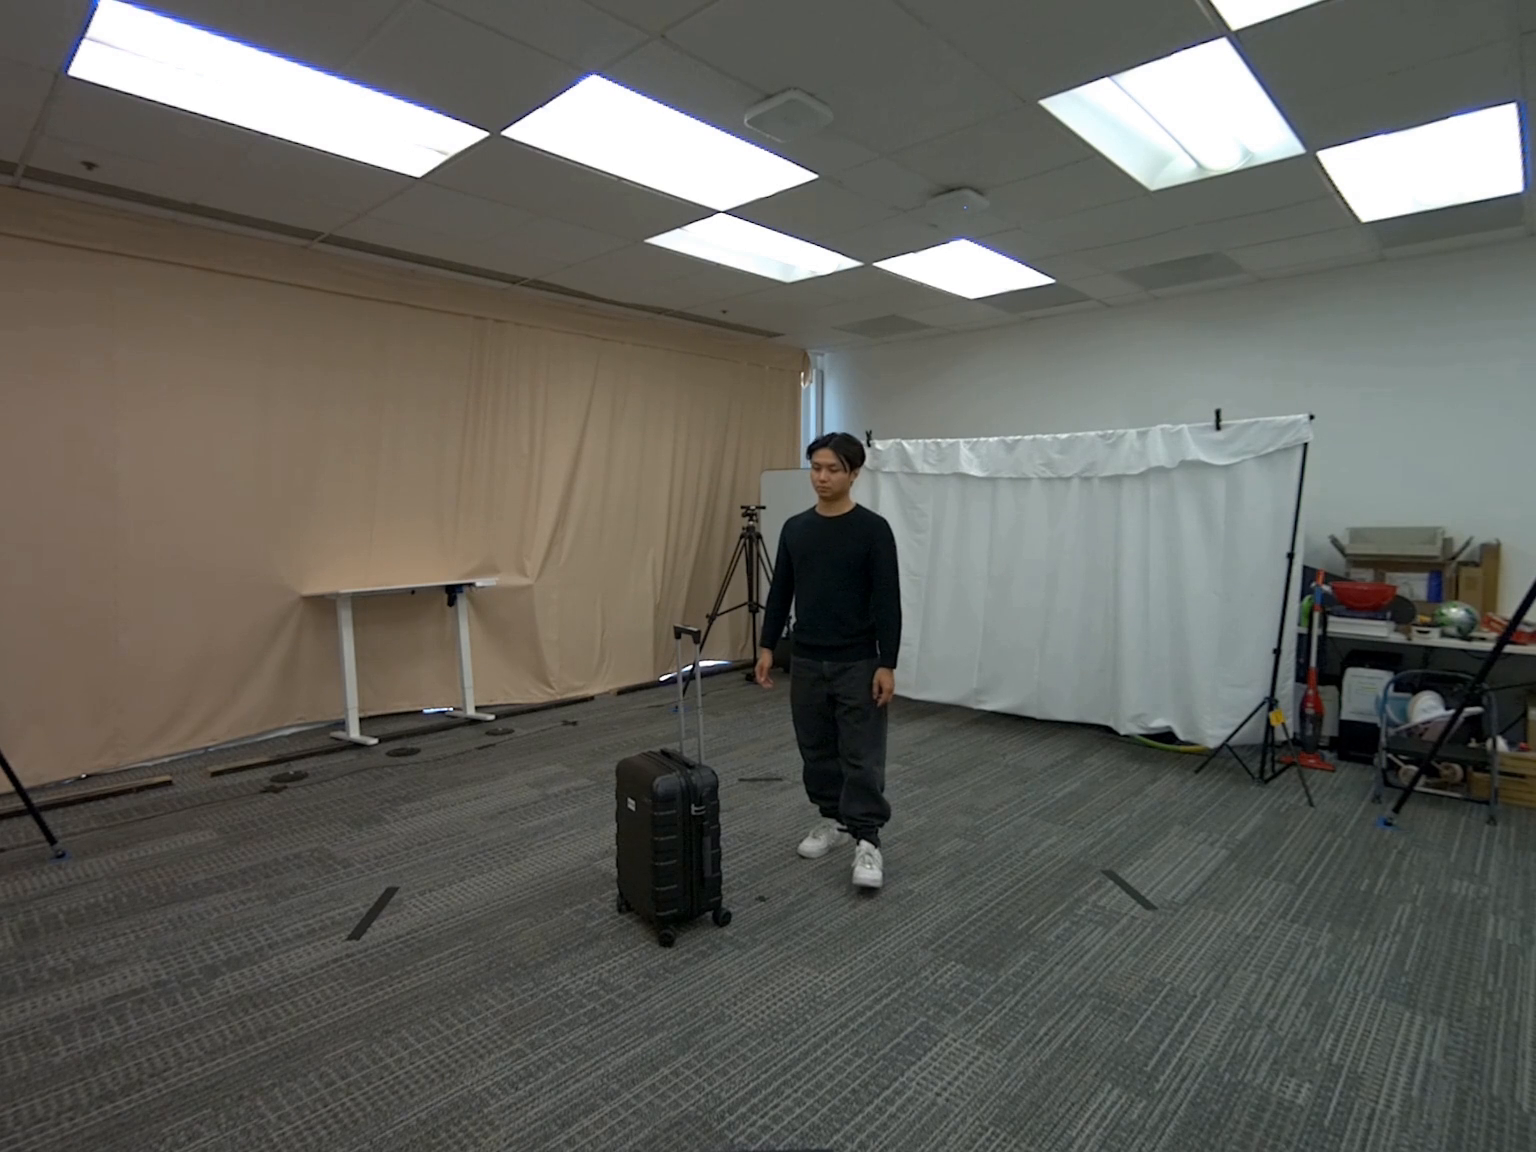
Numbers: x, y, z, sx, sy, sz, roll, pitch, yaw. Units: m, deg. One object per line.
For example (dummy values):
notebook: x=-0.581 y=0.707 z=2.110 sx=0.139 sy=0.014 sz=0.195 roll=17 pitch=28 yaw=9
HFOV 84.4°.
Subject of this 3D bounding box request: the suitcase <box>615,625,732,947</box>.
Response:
suitcase: x=-0.346 y=0.681 z=2.826 sx=0.250 sy=0.976 sz=0.395 roll=-5 pitch=4 yaw=-33
